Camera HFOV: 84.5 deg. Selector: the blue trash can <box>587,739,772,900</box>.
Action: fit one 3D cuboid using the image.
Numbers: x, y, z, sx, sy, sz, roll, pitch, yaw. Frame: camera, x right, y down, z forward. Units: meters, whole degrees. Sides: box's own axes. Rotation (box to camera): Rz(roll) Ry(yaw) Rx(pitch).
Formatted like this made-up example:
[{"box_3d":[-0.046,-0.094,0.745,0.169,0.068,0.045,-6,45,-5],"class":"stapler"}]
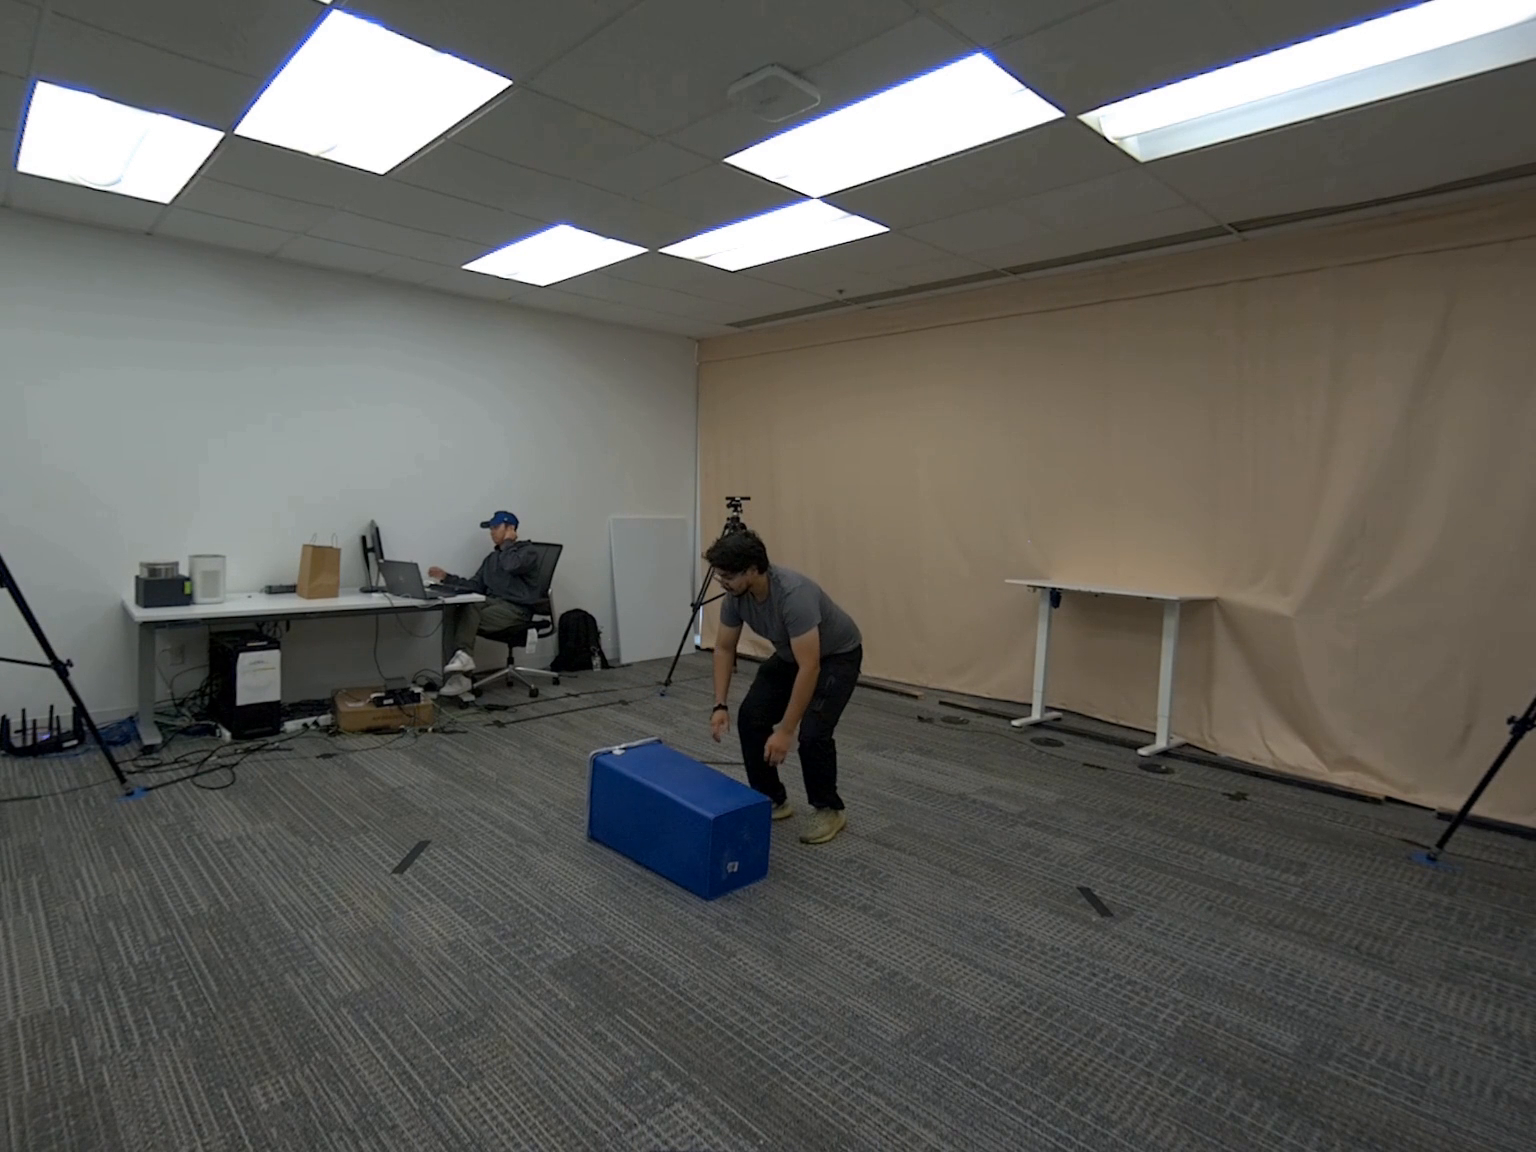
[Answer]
[{"box_3d":[-0.359,0.917,3.235,0.365,0.377,0.732,-1,7,-43],"class":"blue trash can"}]
